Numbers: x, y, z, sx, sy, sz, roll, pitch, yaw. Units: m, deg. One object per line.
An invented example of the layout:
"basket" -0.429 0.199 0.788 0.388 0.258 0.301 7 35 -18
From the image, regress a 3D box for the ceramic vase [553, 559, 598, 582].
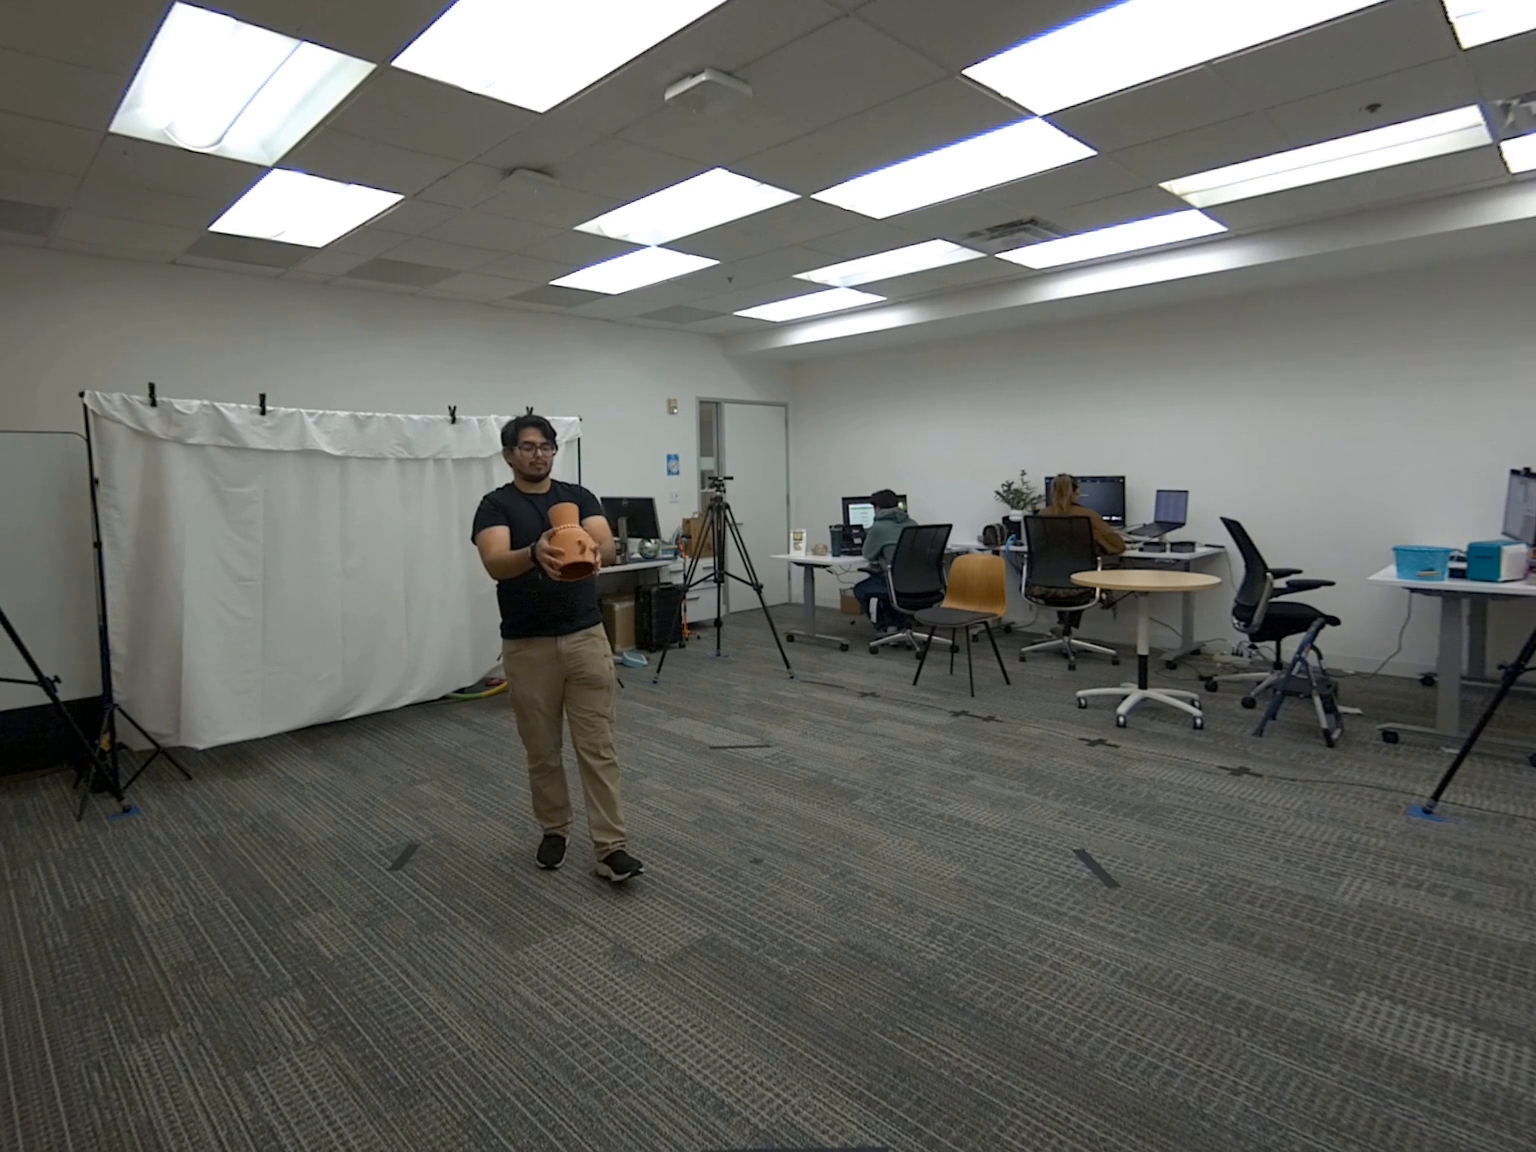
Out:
"ceramic vase" -0.630 -0.110 2.688 0.160 0.225 0.130 -22 -25 13
